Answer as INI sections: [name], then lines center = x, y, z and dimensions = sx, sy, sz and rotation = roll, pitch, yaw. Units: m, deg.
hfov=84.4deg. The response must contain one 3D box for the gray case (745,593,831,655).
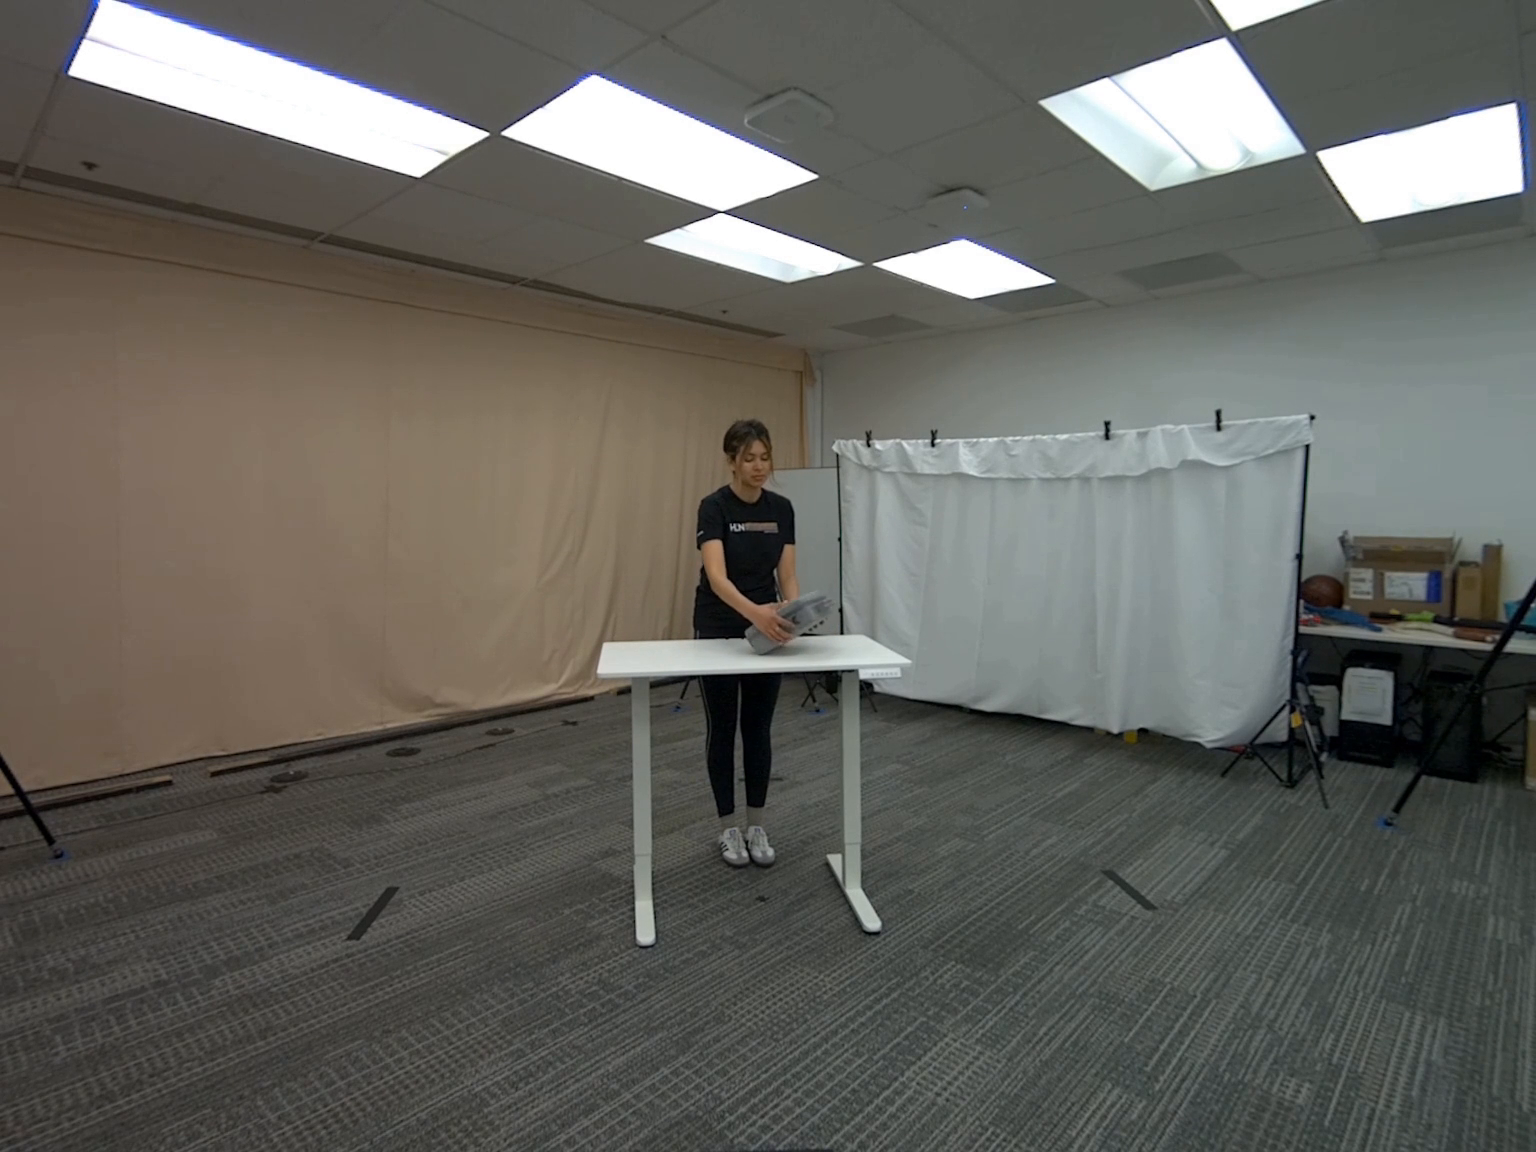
[gray case]
center = 0.078, 0.167, 2.934
dimensions = 0.264, 0.105, 0.251
rotation = -30, -8, 21
